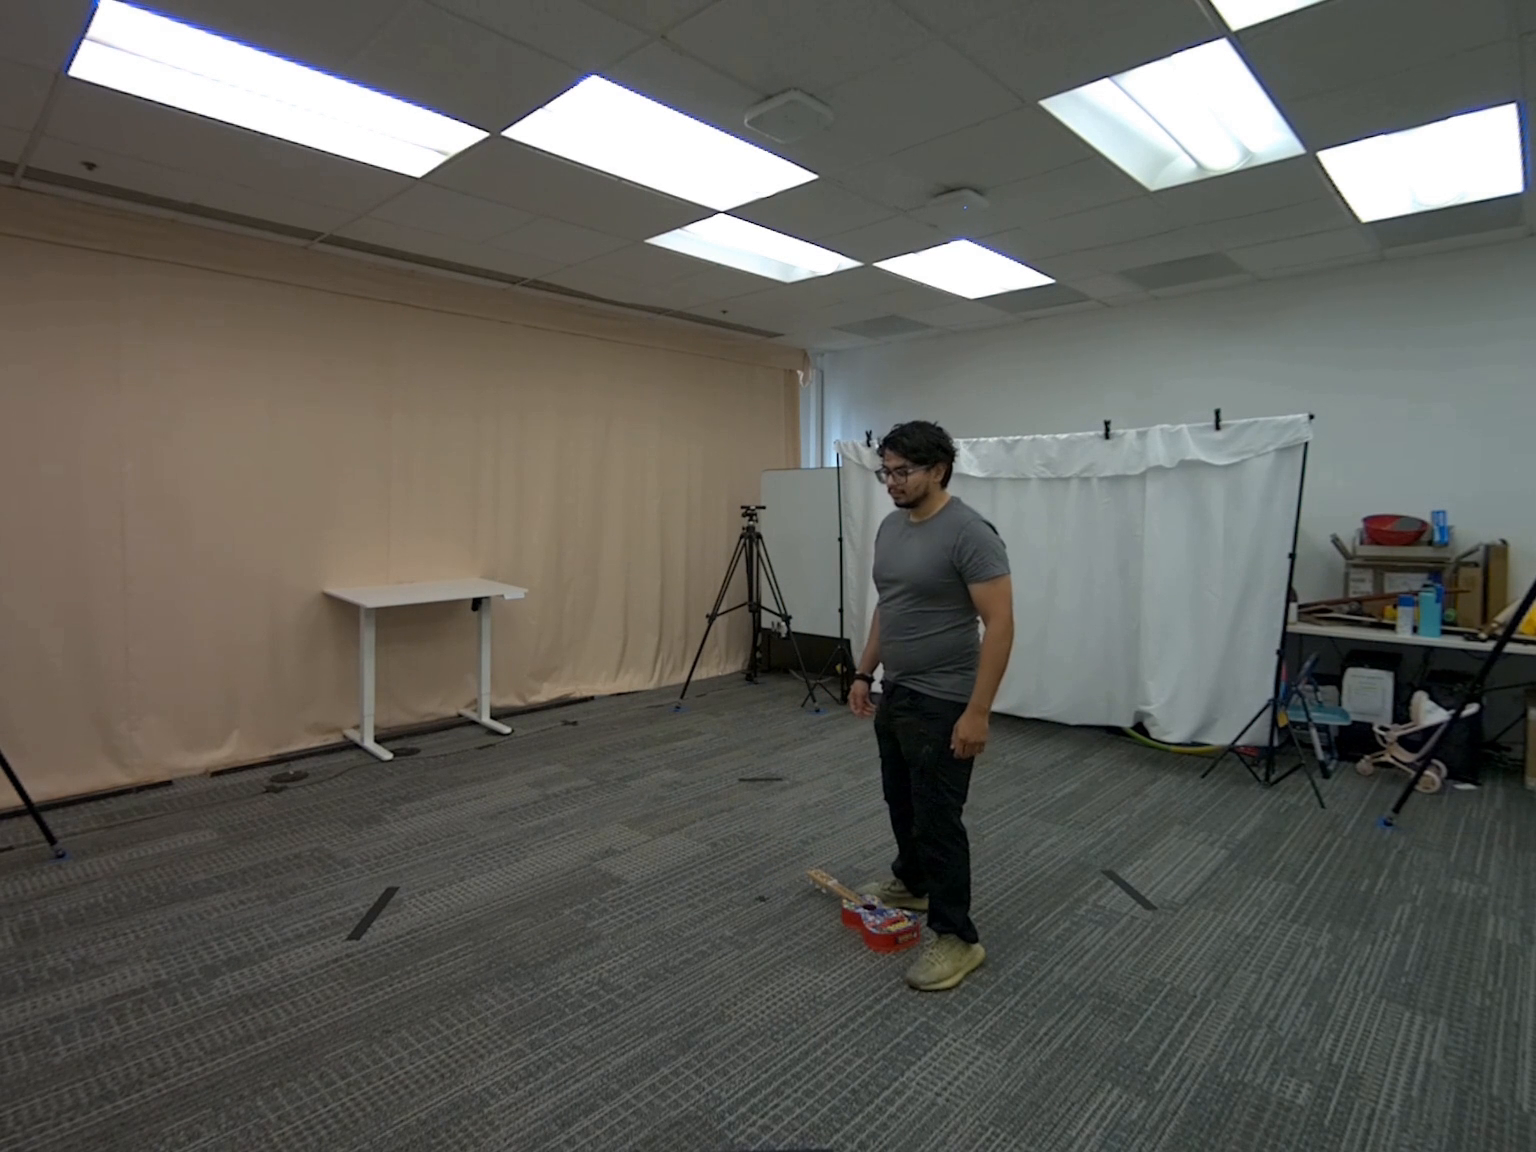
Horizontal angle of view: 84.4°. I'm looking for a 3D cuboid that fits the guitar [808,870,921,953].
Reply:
[{"bbox_3d":[0.324,1.117,2.868,0.189,0.070,0.510,-3,6,-24],"label":"guitar"}]
